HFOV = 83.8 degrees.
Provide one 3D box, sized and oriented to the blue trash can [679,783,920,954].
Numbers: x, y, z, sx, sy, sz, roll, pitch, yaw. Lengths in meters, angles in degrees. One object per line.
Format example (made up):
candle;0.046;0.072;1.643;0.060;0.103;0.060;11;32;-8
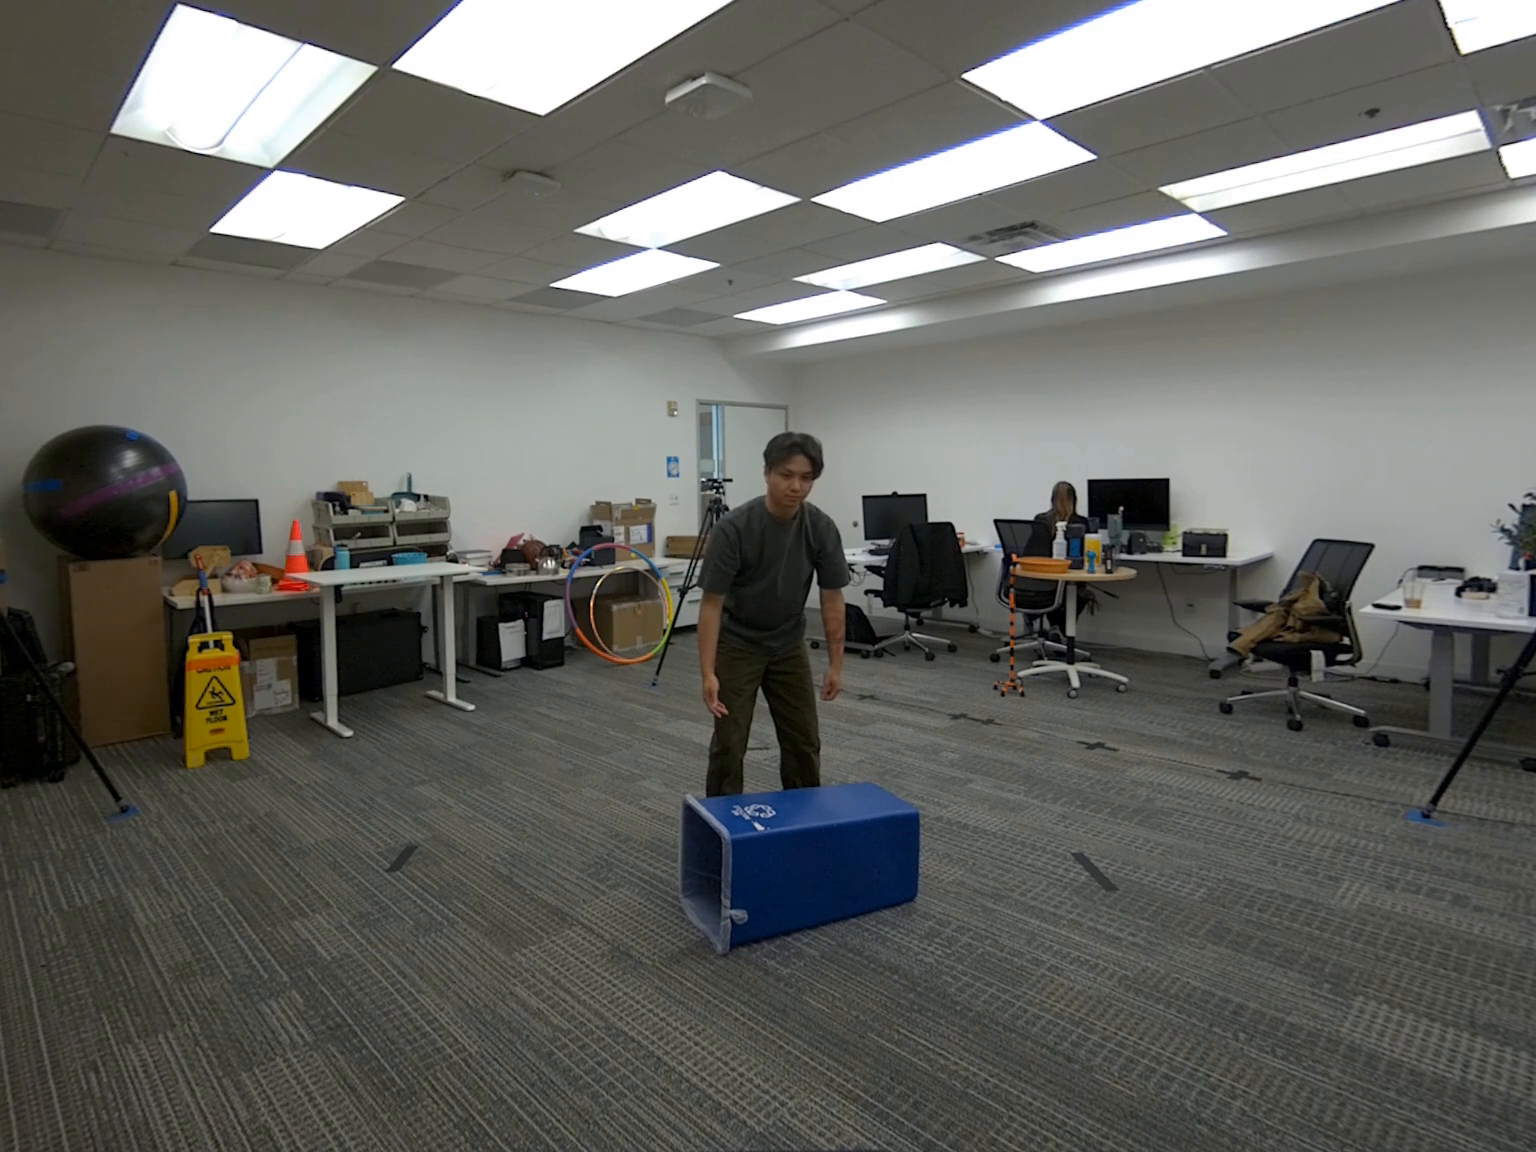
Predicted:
blue trash can;0.114;0.912;2.790;0.699;0.373;0.387;0;3;-24
